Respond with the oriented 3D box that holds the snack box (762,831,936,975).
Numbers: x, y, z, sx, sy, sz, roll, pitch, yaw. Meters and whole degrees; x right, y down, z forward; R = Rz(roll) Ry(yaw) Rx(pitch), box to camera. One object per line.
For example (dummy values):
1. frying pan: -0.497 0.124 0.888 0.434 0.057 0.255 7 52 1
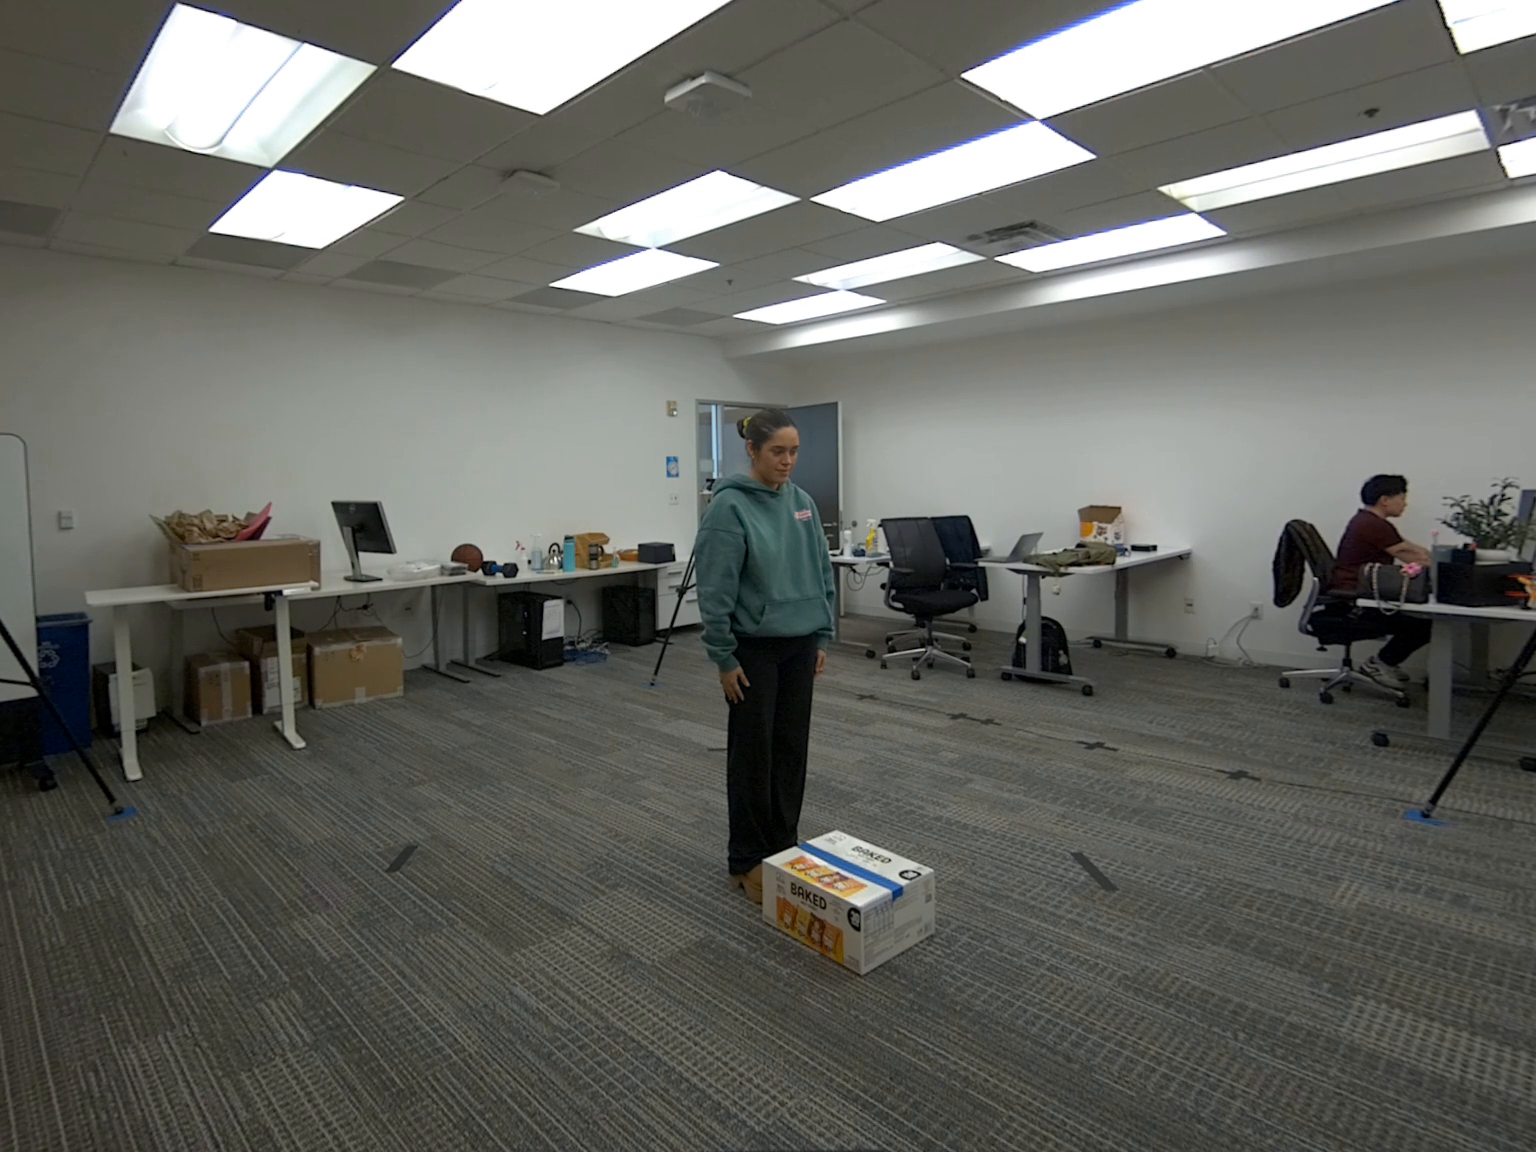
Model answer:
1. snack box: 0.253 0.994 2.634 0.331 0.205 0.418 -7 8 -41
